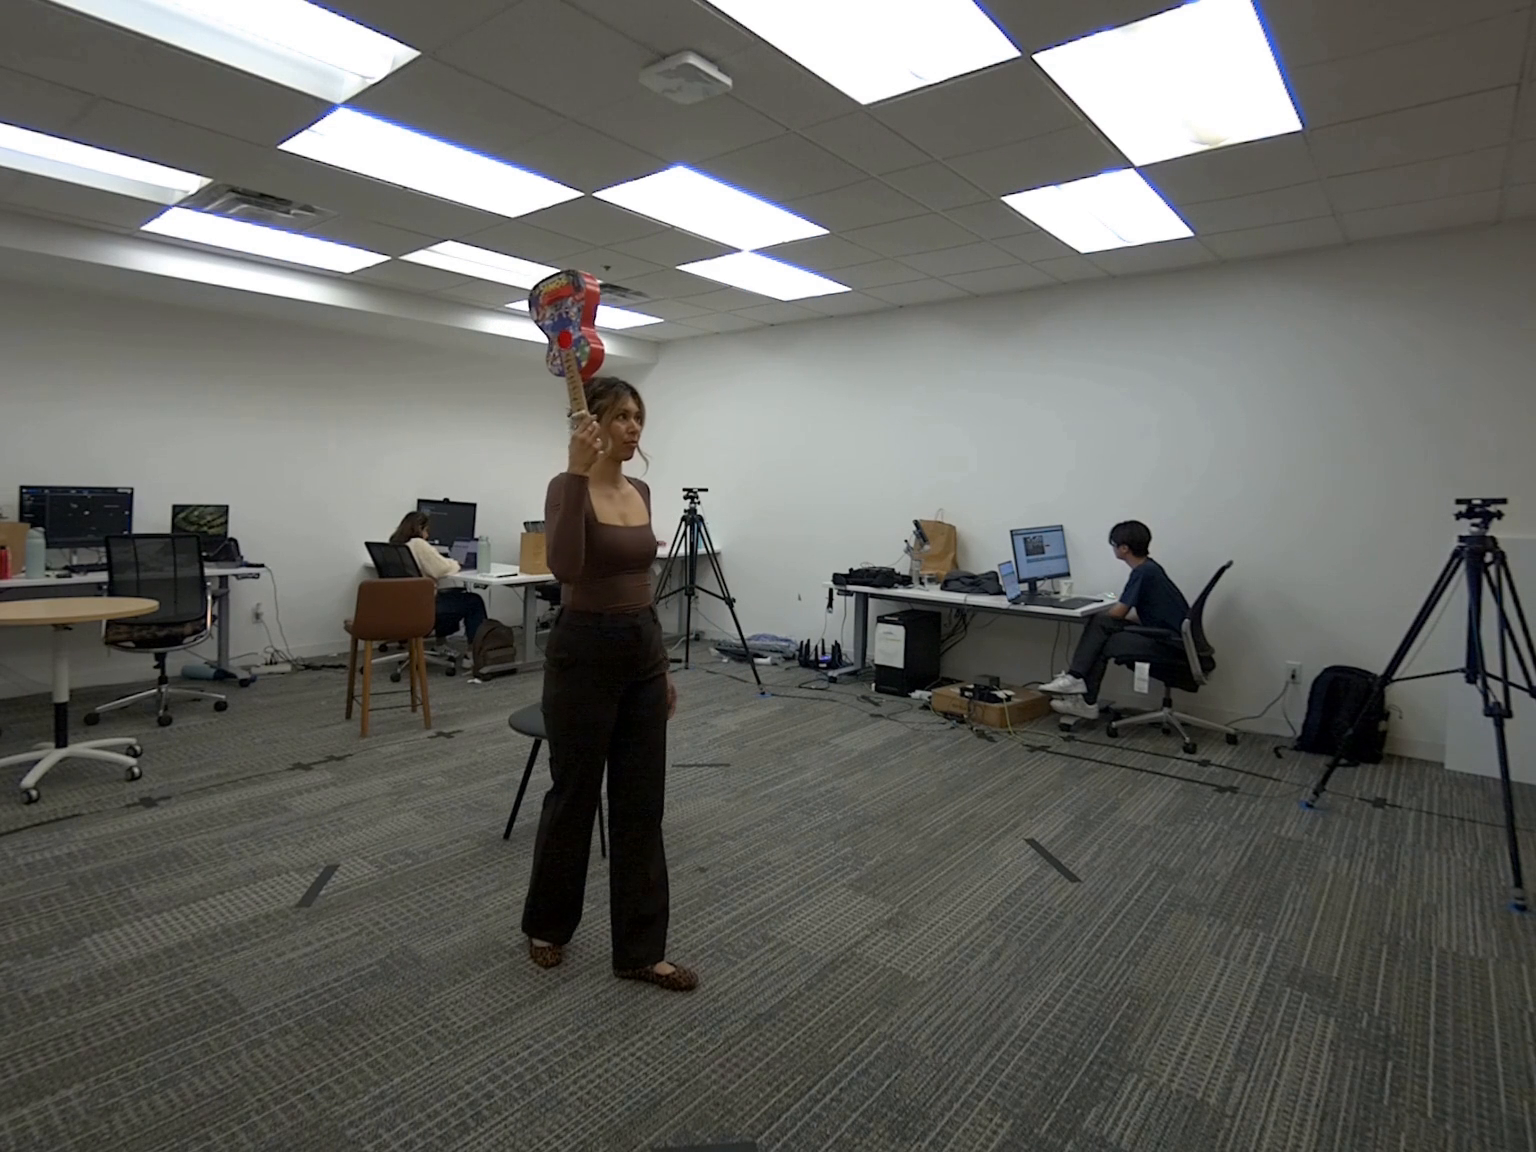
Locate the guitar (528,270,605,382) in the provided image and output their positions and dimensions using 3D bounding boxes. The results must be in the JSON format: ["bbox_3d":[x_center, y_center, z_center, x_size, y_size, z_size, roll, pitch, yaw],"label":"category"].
[{"bbox_3d":[-0.522,-0.529,2.202,0.197,0.496,0.069,-4,3,21],"label":"guitar"}]
